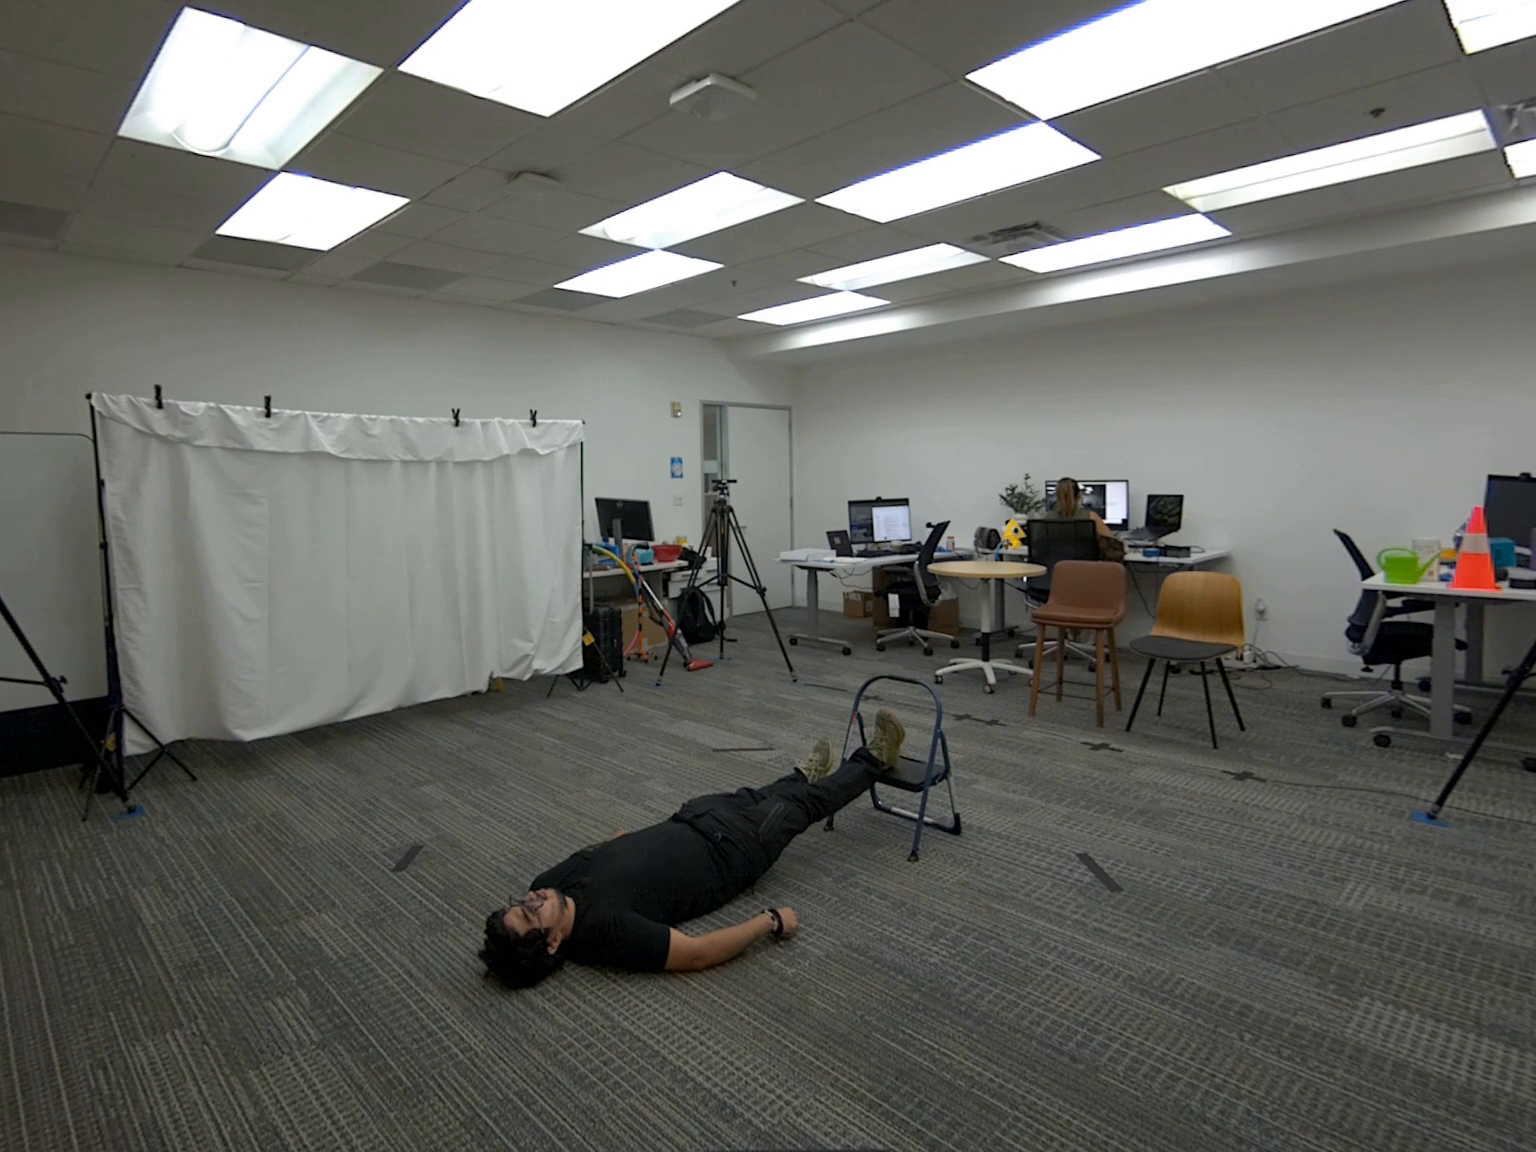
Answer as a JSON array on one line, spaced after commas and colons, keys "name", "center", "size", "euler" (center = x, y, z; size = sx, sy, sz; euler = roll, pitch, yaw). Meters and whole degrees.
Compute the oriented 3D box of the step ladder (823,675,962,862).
[{"name": "step ladder", "center": [0.494, 0.708, 3.354], "size": [0.444, 0.604, 0.340], "euler": [4, 6, 44]}]
